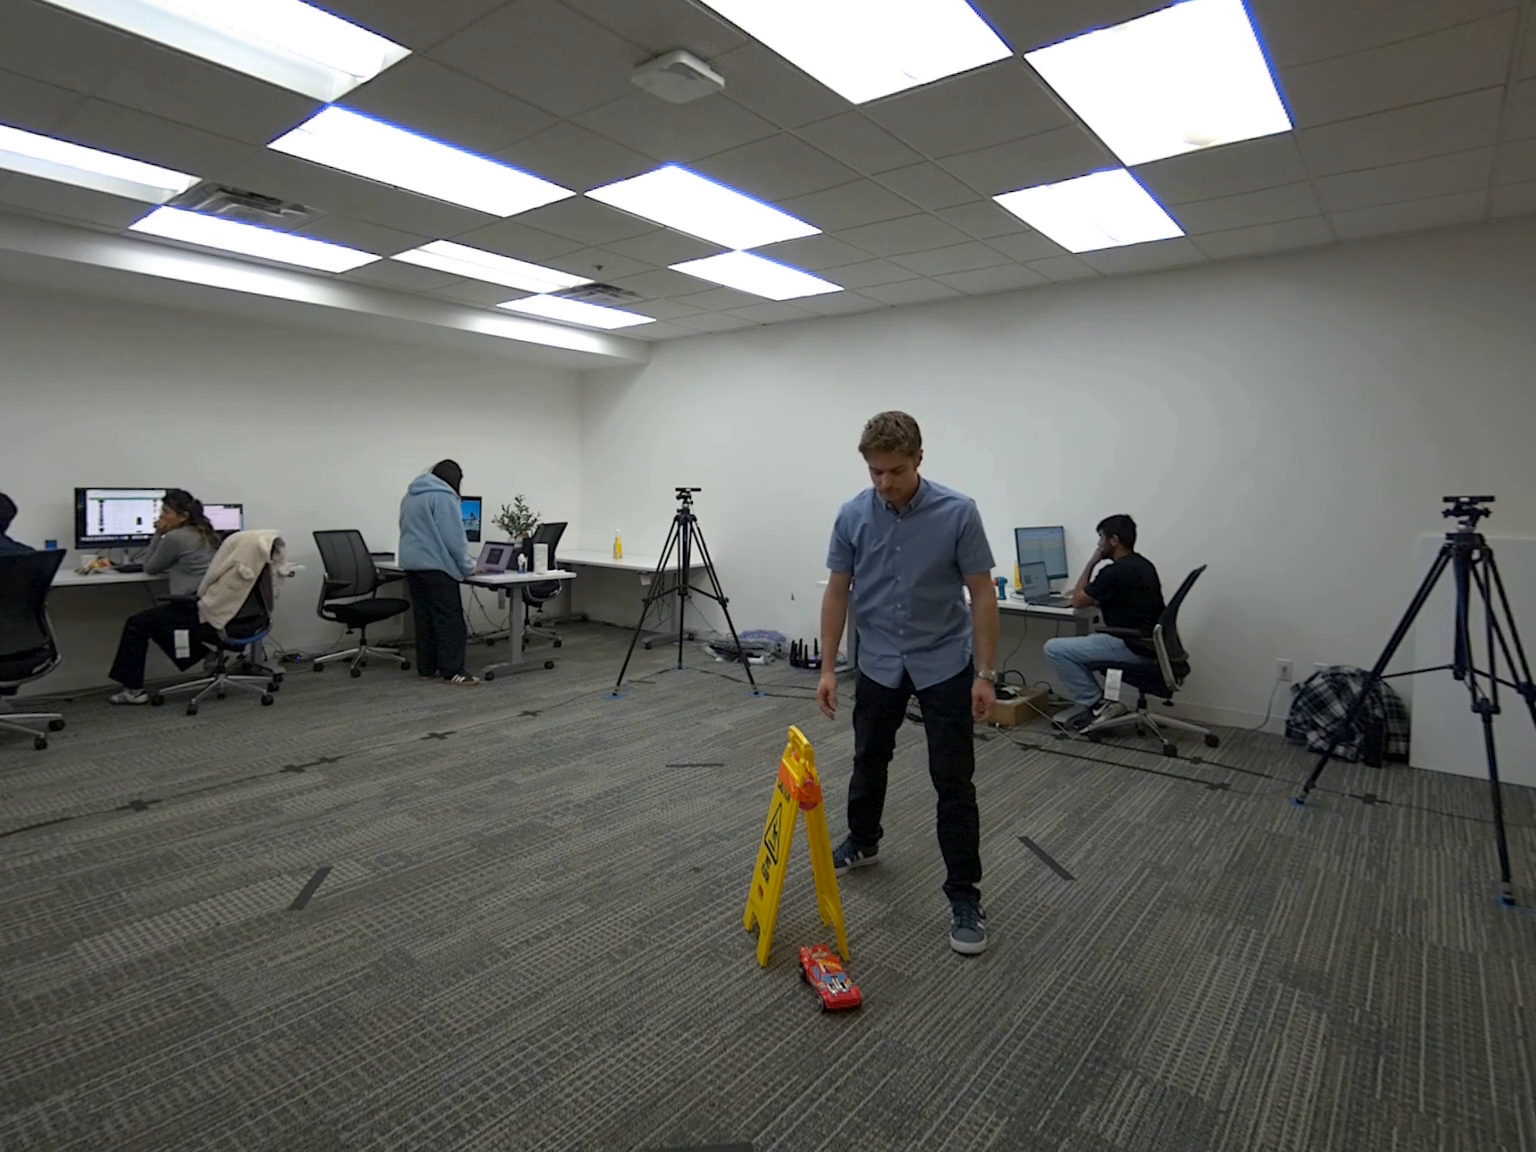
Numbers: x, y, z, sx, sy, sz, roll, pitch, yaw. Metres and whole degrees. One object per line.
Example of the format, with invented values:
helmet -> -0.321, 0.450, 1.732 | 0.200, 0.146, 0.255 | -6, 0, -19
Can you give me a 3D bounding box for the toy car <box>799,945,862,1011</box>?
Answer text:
toy car -> 0.158, 1.118, 2.370 | 0.128, 0.082, 0.262 | -2, 16, -15
